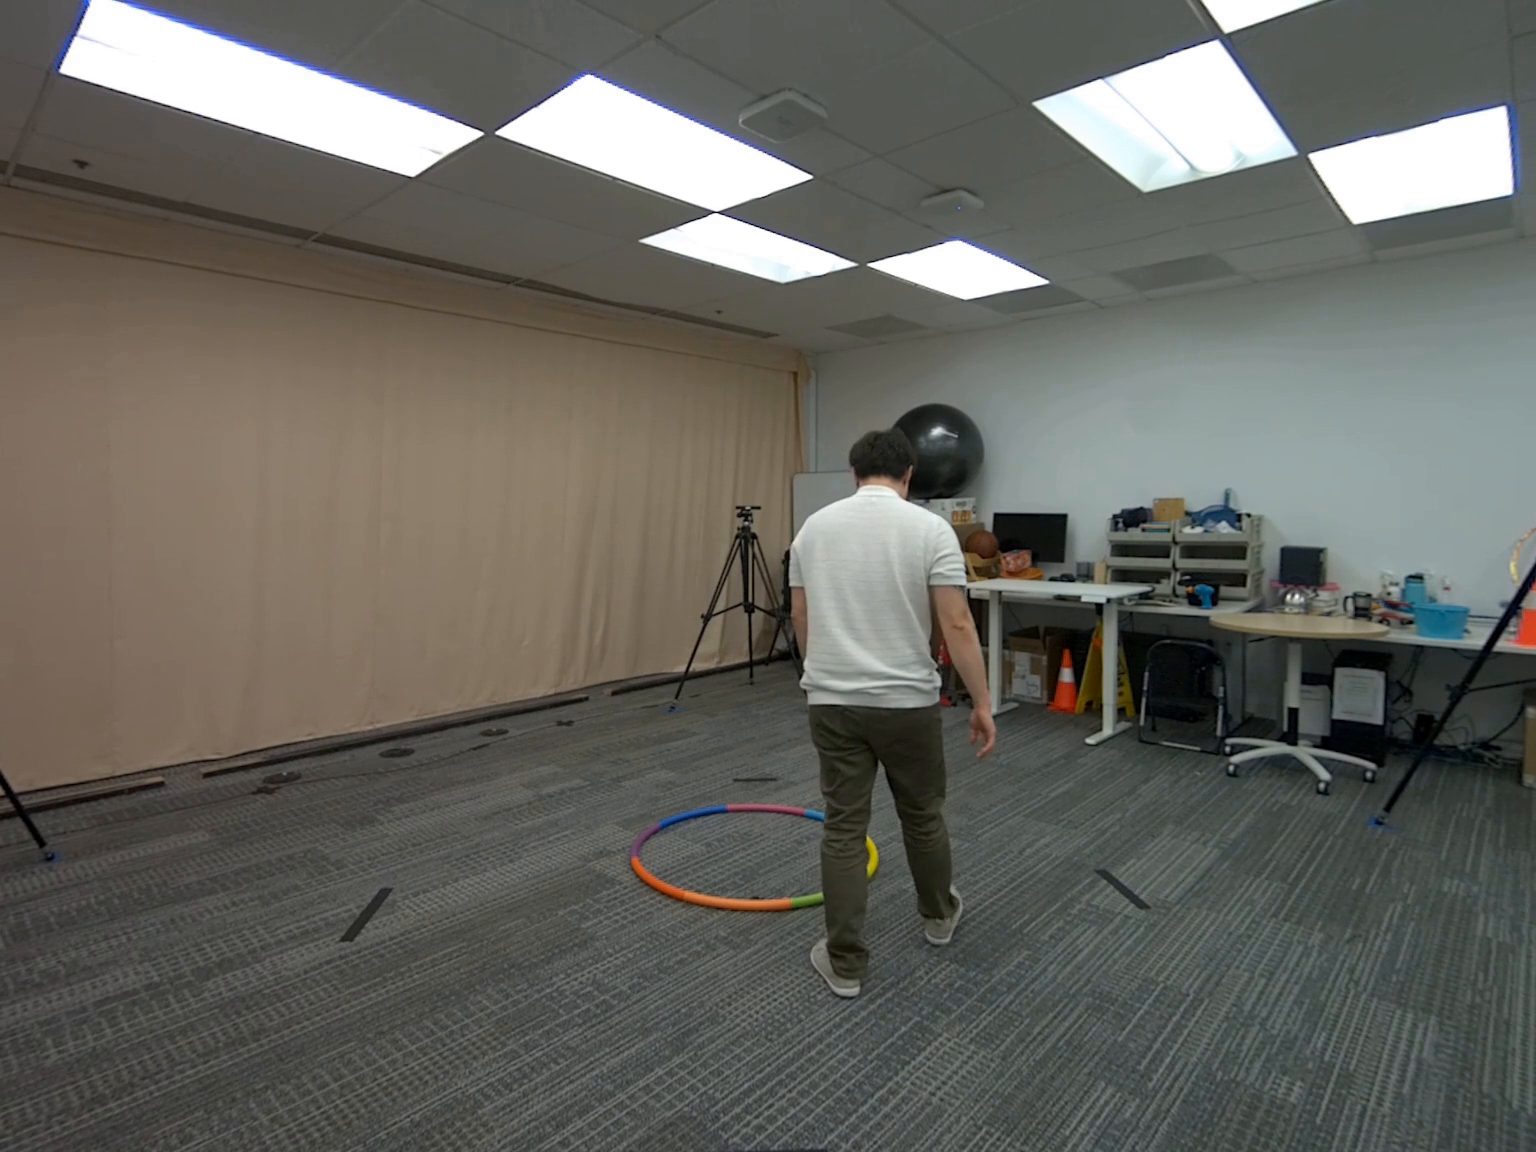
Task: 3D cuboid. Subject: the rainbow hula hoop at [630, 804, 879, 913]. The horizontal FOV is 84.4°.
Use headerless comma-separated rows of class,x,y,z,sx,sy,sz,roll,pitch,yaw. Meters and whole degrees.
rainbow hula hoop,-0.056,1.083,3.370,0.978,0.035,0.982,0,5,-2
